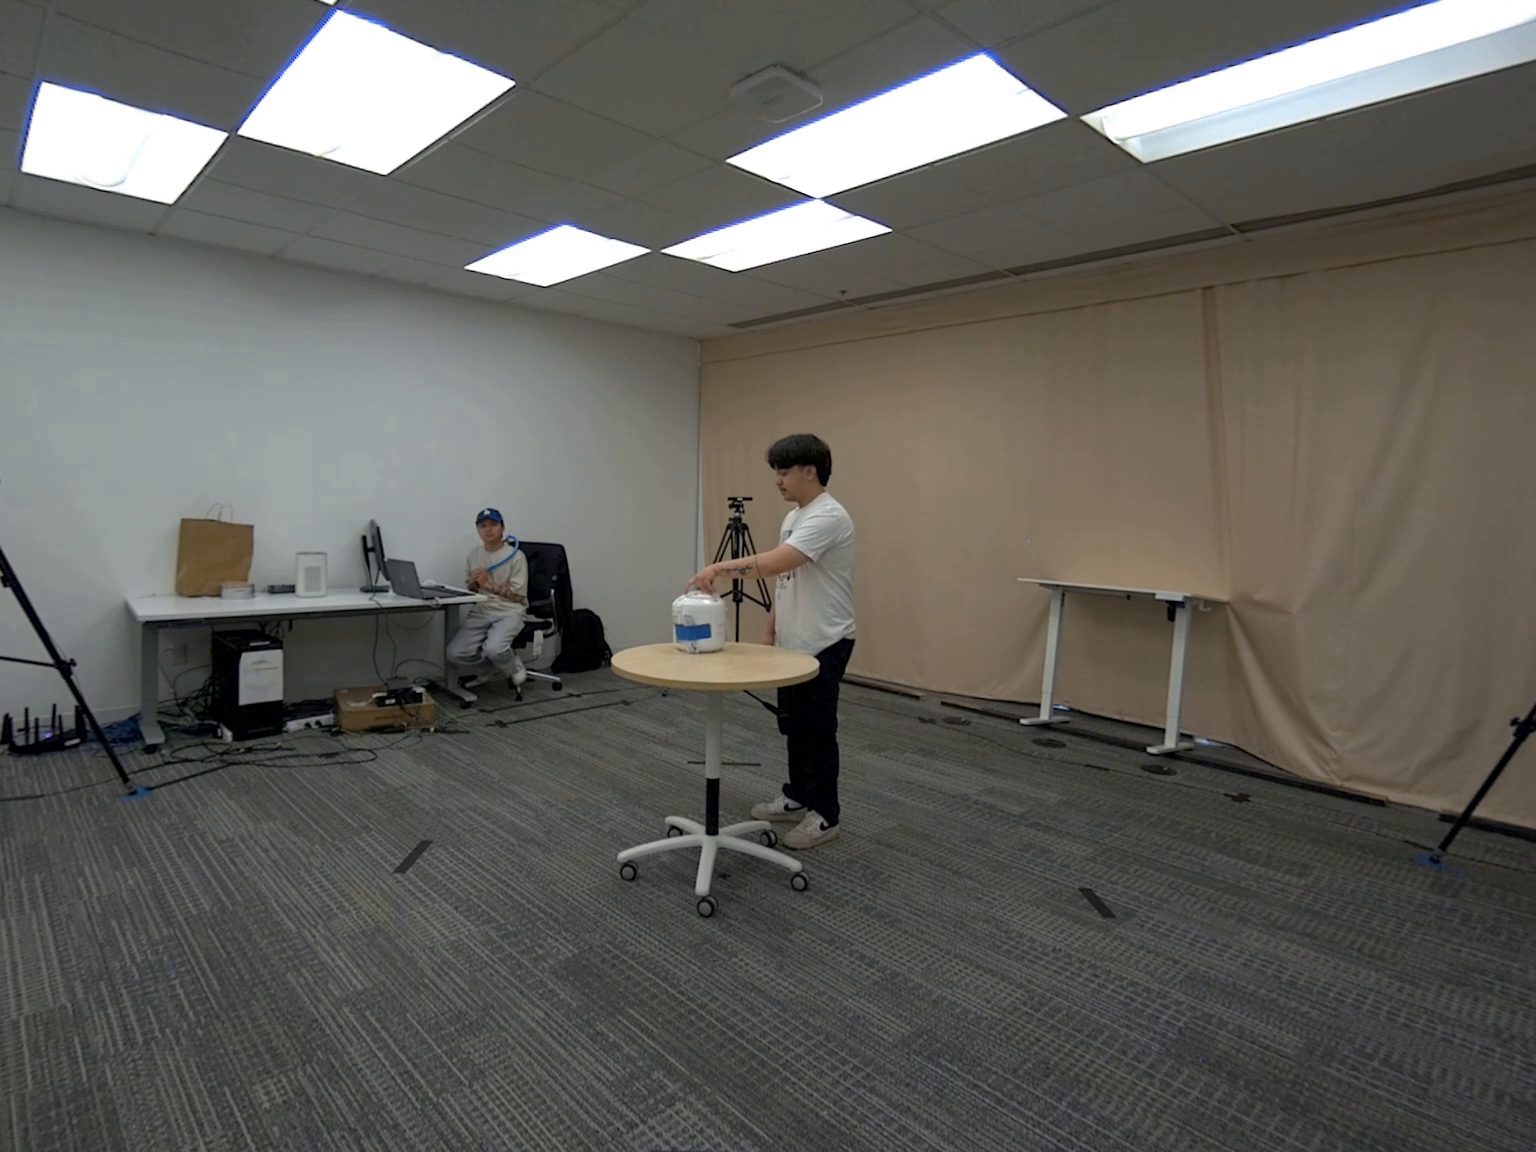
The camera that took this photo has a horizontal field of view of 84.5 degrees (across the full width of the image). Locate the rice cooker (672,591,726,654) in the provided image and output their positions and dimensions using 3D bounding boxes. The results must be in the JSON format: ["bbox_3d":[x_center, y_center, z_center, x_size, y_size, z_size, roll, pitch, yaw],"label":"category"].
[{"bbox_3d":[-0.279,0.174,3.305,0.216,0.232,0.222,-1,6,-29],"label":"rice cooker"}]
